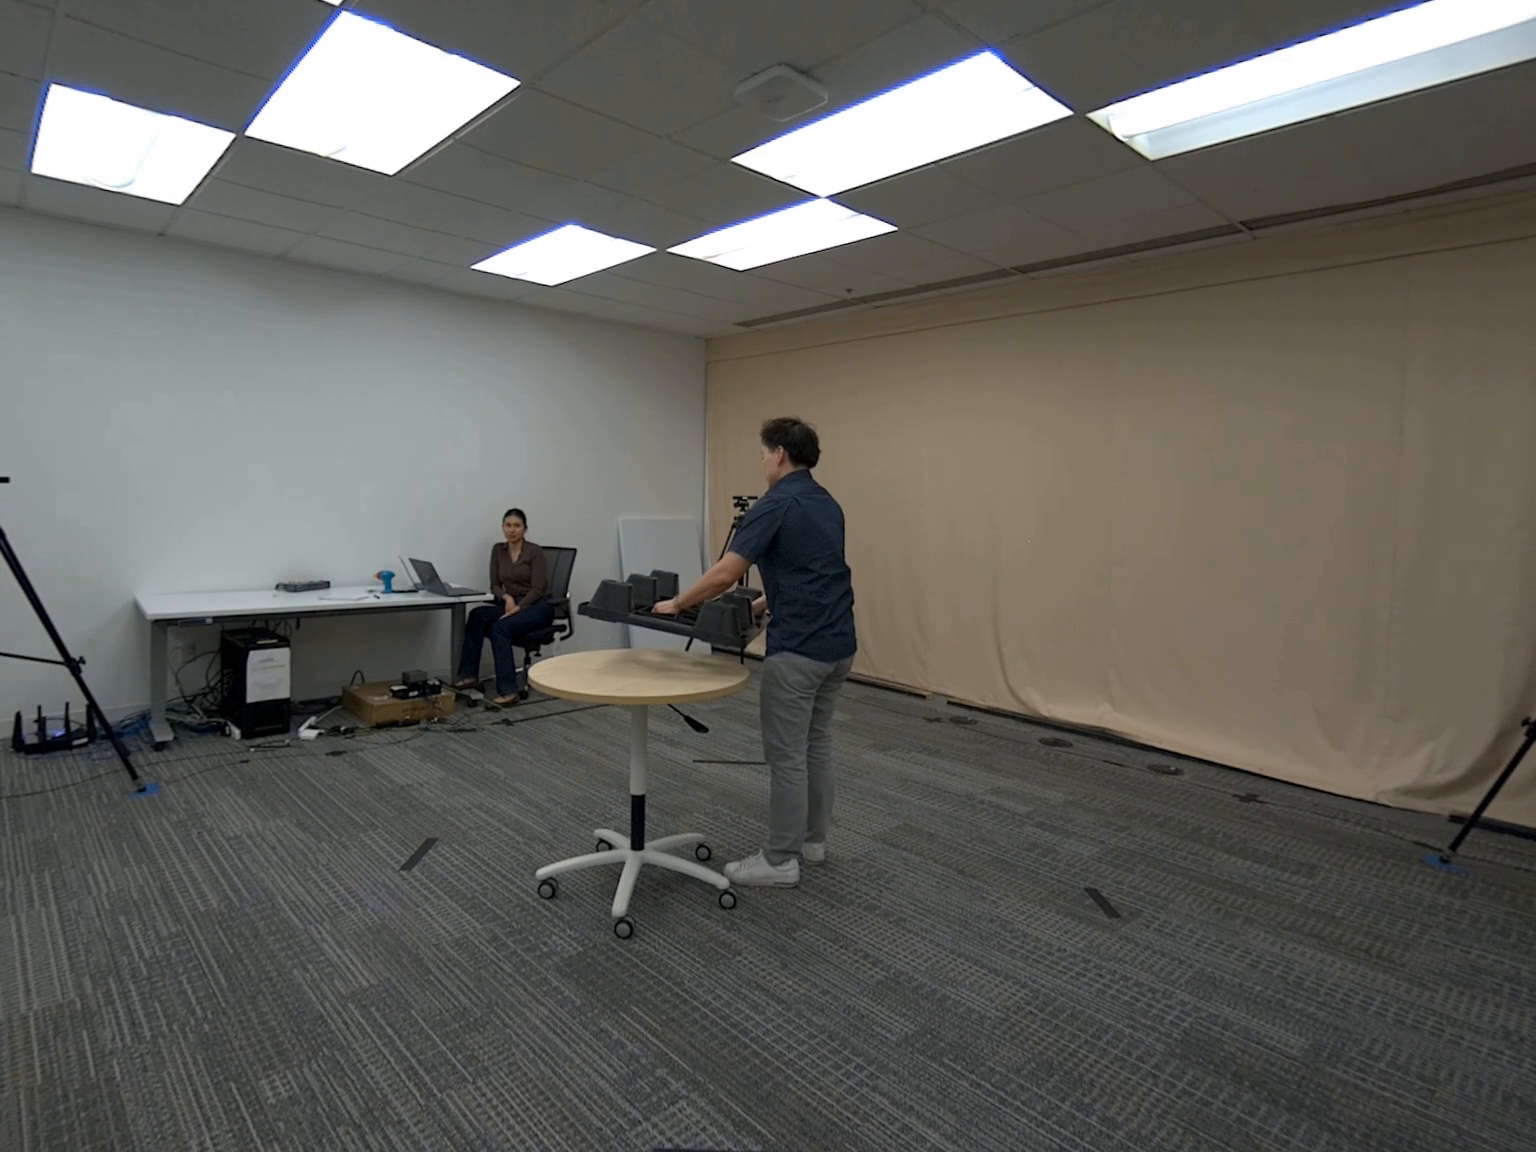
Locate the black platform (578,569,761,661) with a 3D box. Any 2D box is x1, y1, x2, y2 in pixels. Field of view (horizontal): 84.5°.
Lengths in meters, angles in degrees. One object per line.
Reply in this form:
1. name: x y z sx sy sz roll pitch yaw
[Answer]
1. black platform: -0.321 0.106 3.243 0.610 0.143 0.801 12 4 7
